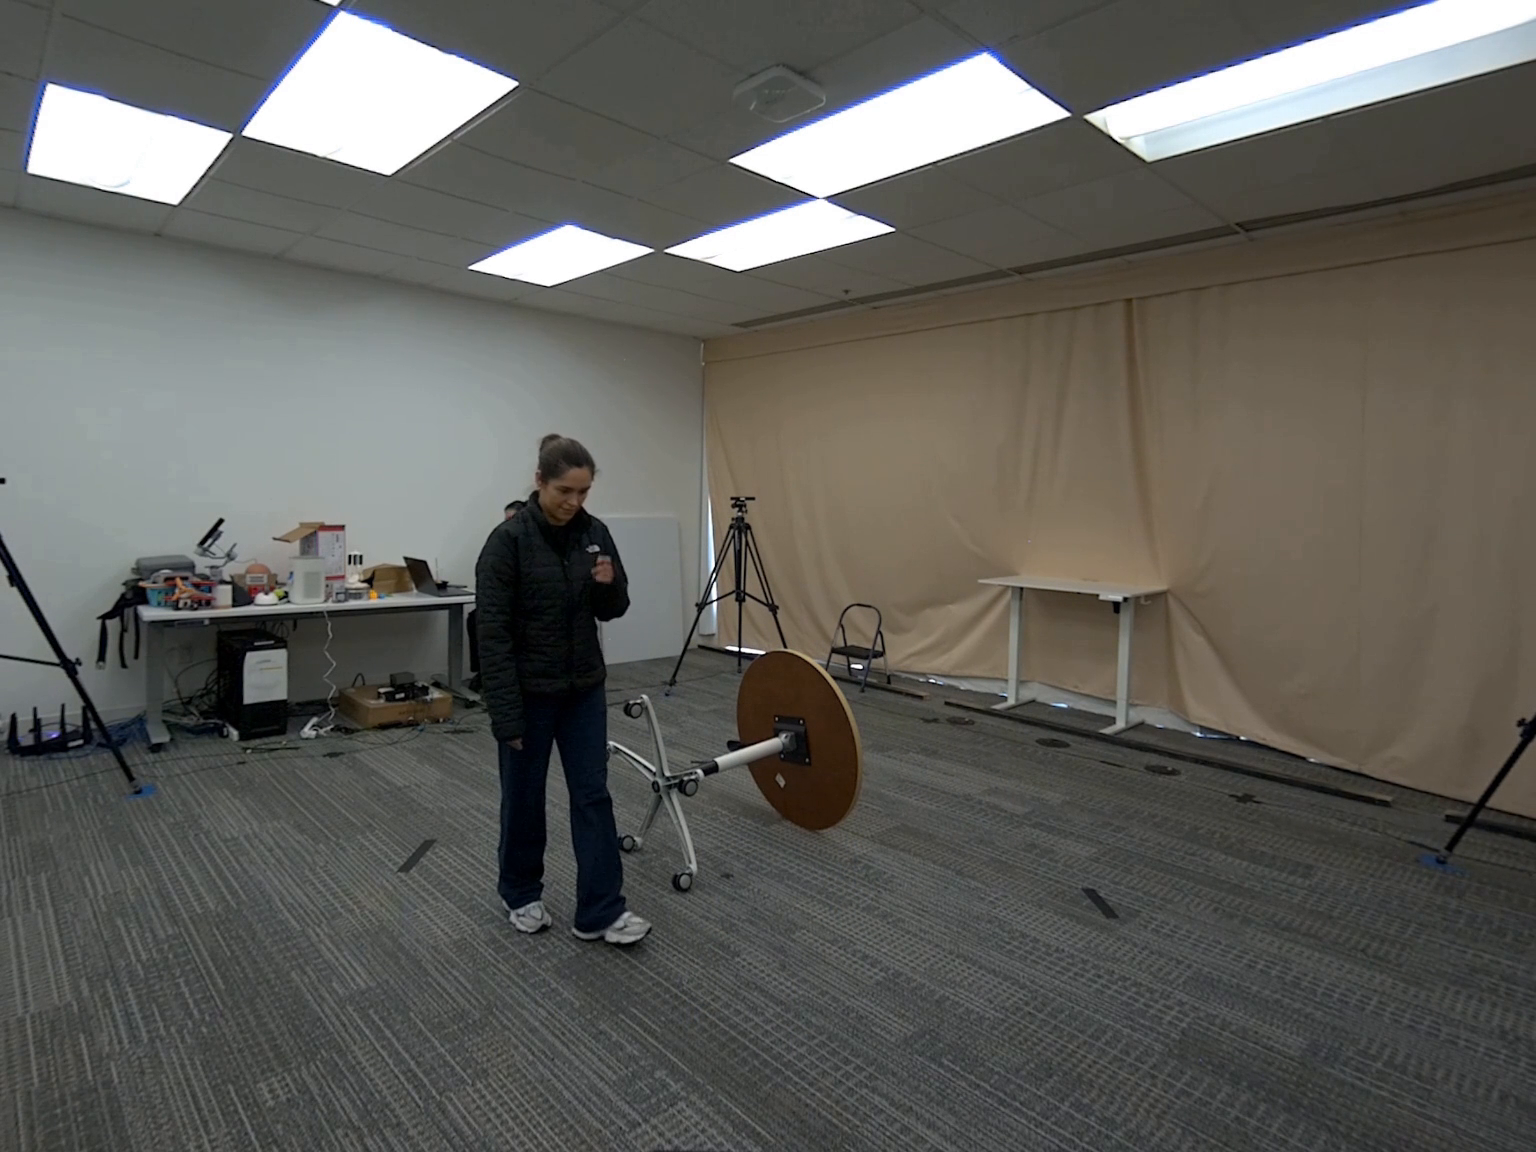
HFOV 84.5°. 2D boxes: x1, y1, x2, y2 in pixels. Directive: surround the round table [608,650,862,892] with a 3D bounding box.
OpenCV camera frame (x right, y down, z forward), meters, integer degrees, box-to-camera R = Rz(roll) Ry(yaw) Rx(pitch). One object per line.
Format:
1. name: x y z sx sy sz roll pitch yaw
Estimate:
1. round table: -0.187 0.748 3.338 0.771 0.781 0.805 -9 10 -38
